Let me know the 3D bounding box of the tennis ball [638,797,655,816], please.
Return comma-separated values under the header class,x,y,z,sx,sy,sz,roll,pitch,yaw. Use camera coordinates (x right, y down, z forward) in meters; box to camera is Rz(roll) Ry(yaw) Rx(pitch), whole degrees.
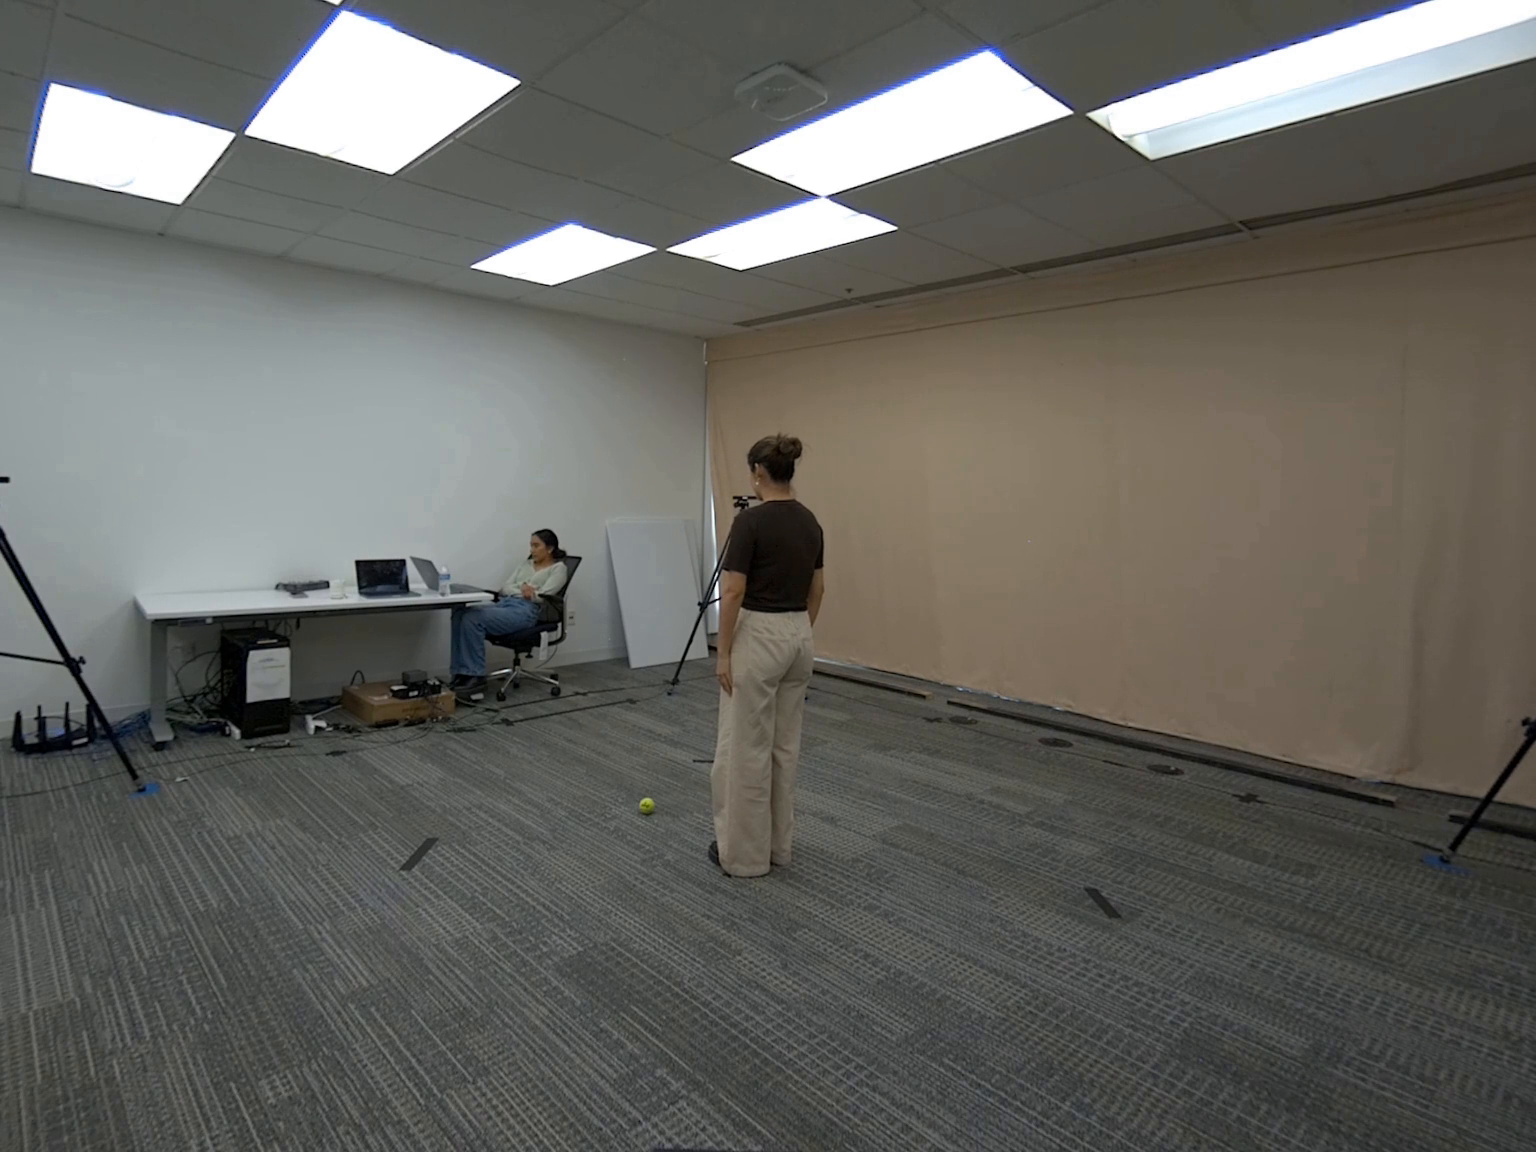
class,x,y,z,sx,sy,sz,roll,pitch,yaw
tennis ball,-0.539,0.992,3.692,0.066,0.066,0.067,1,4,-1
